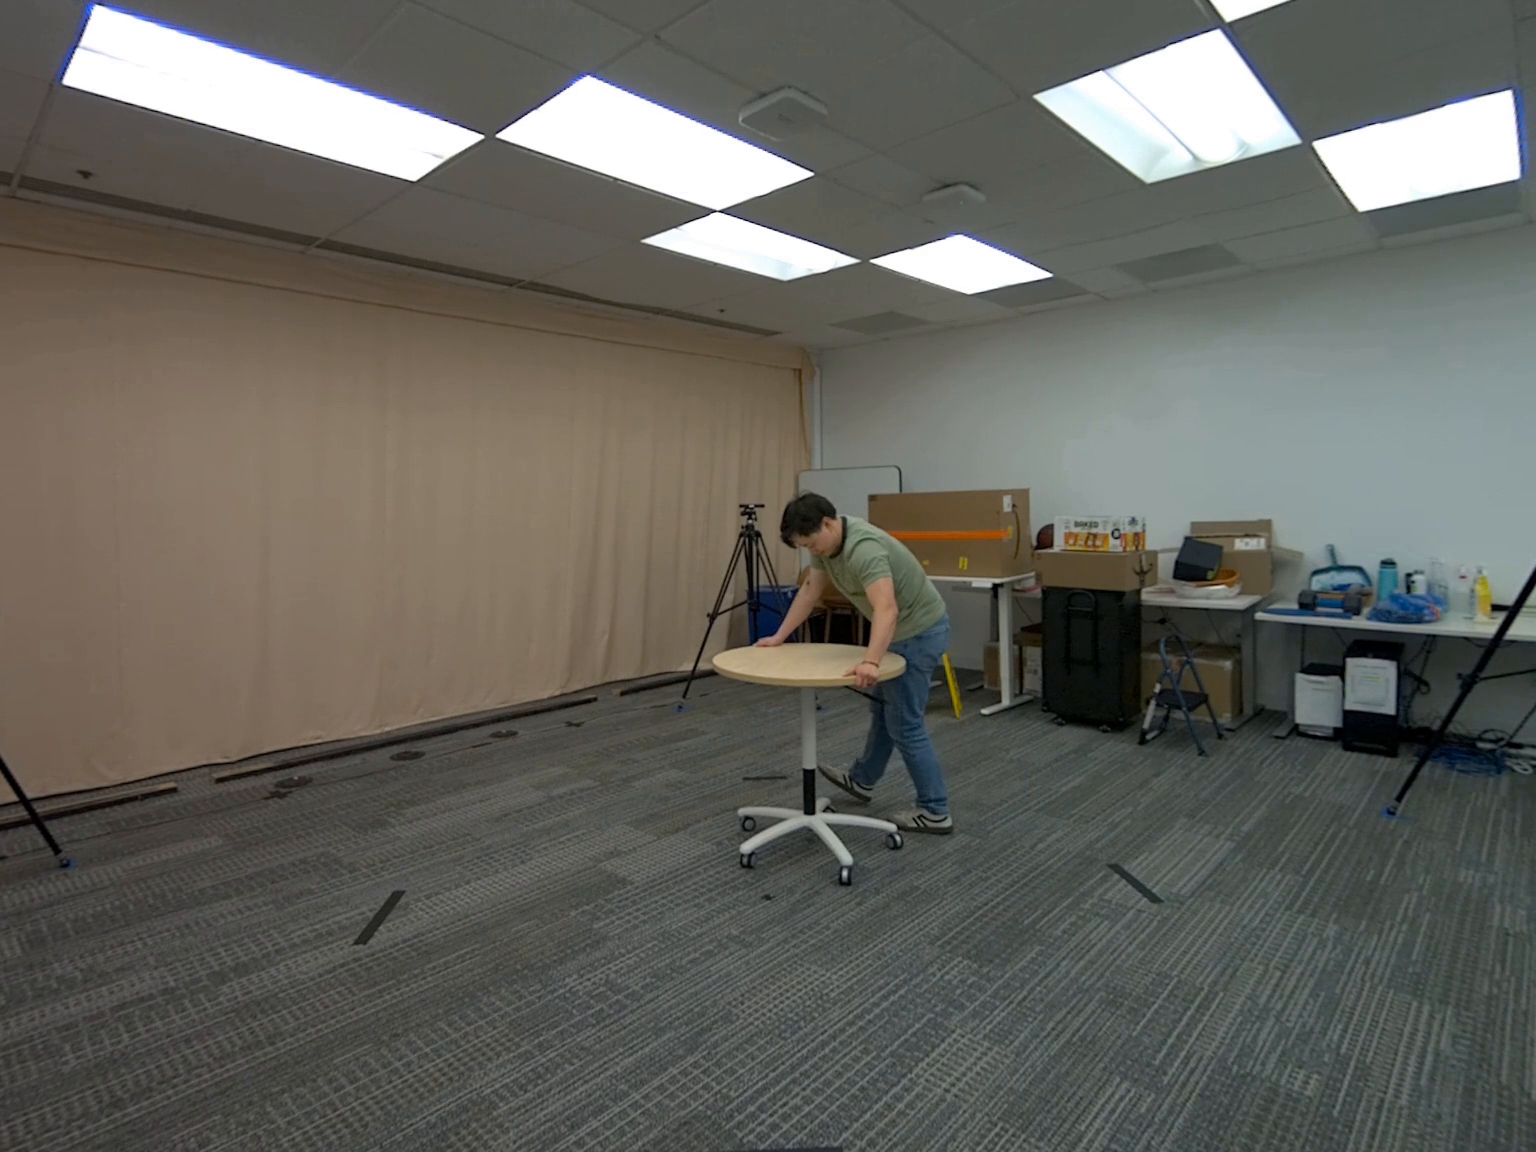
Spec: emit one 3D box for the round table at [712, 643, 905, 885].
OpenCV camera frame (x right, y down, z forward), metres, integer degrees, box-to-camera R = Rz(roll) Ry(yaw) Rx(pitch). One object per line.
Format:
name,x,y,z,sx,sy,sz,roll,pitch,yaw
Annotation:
round table,0.167,0.719,3.393,0.763,0.792,0.766,-1,4,-2
